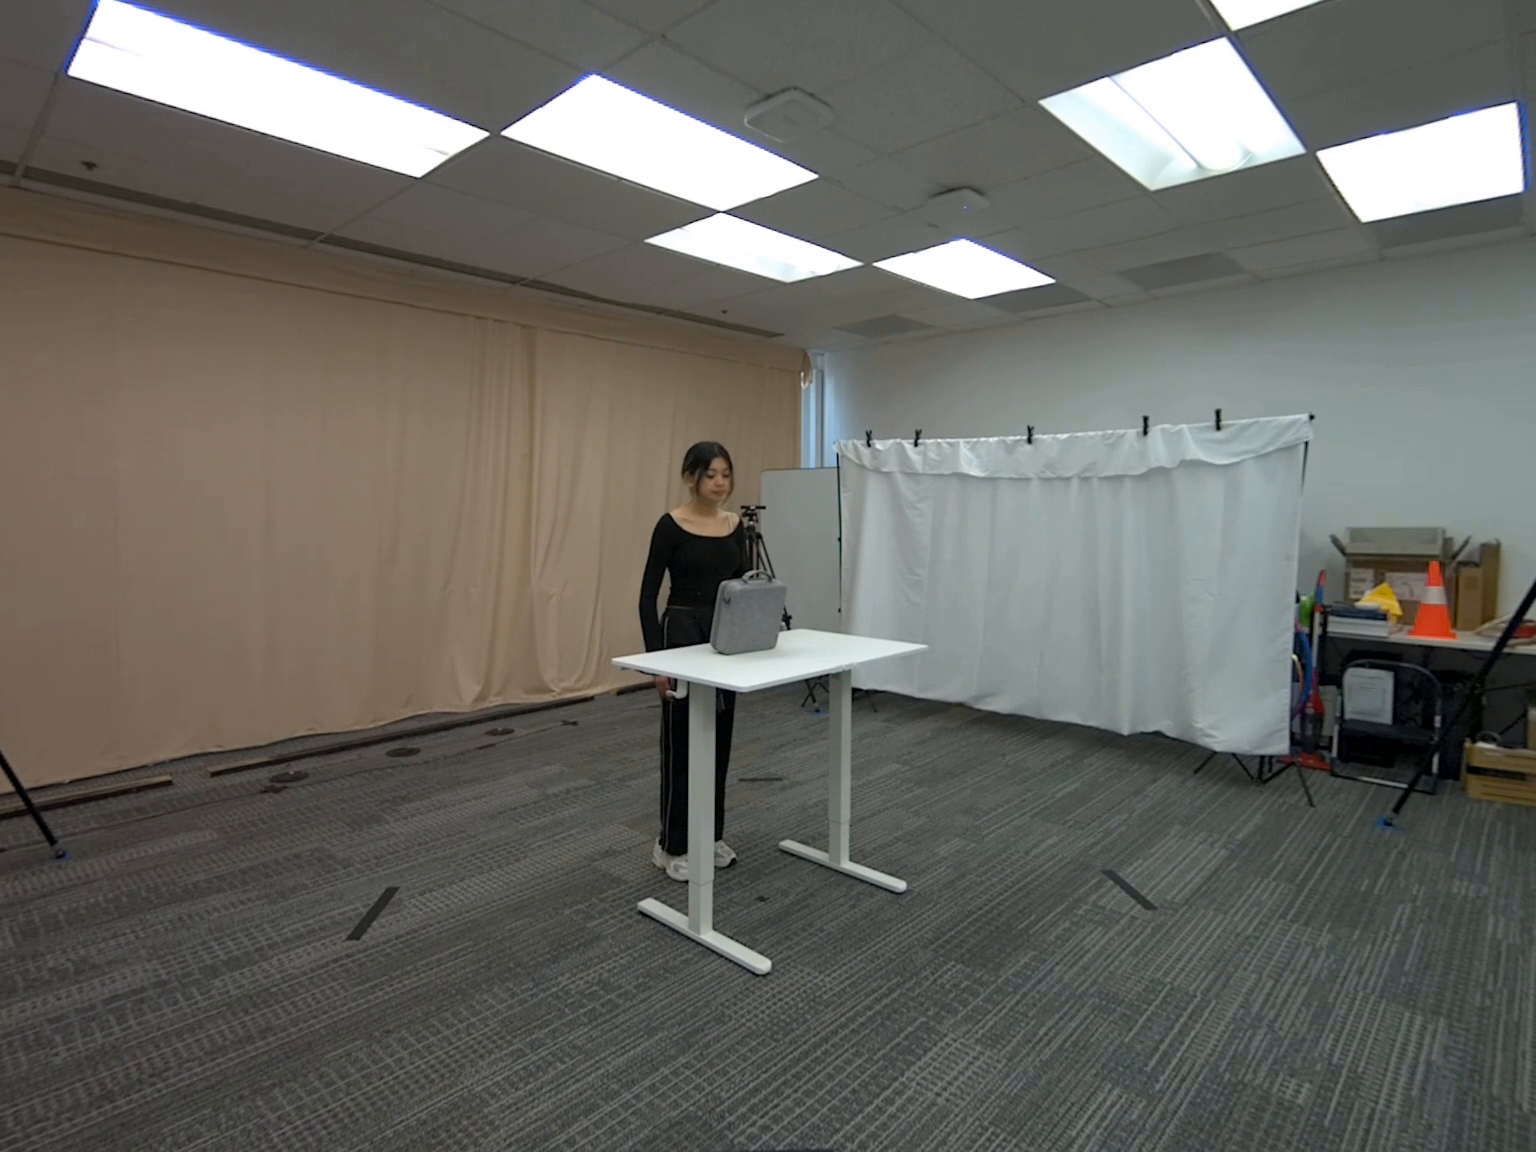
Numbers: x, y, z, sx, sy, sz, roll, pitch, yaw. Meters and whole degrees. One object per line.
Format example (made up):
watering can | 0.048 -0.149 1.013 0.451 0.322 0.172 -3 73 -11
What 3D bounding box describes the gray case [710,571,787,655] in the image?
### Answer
gray case | -0.065 0.134 2.933 0.249 0.259 0.108 -2 17 -39
